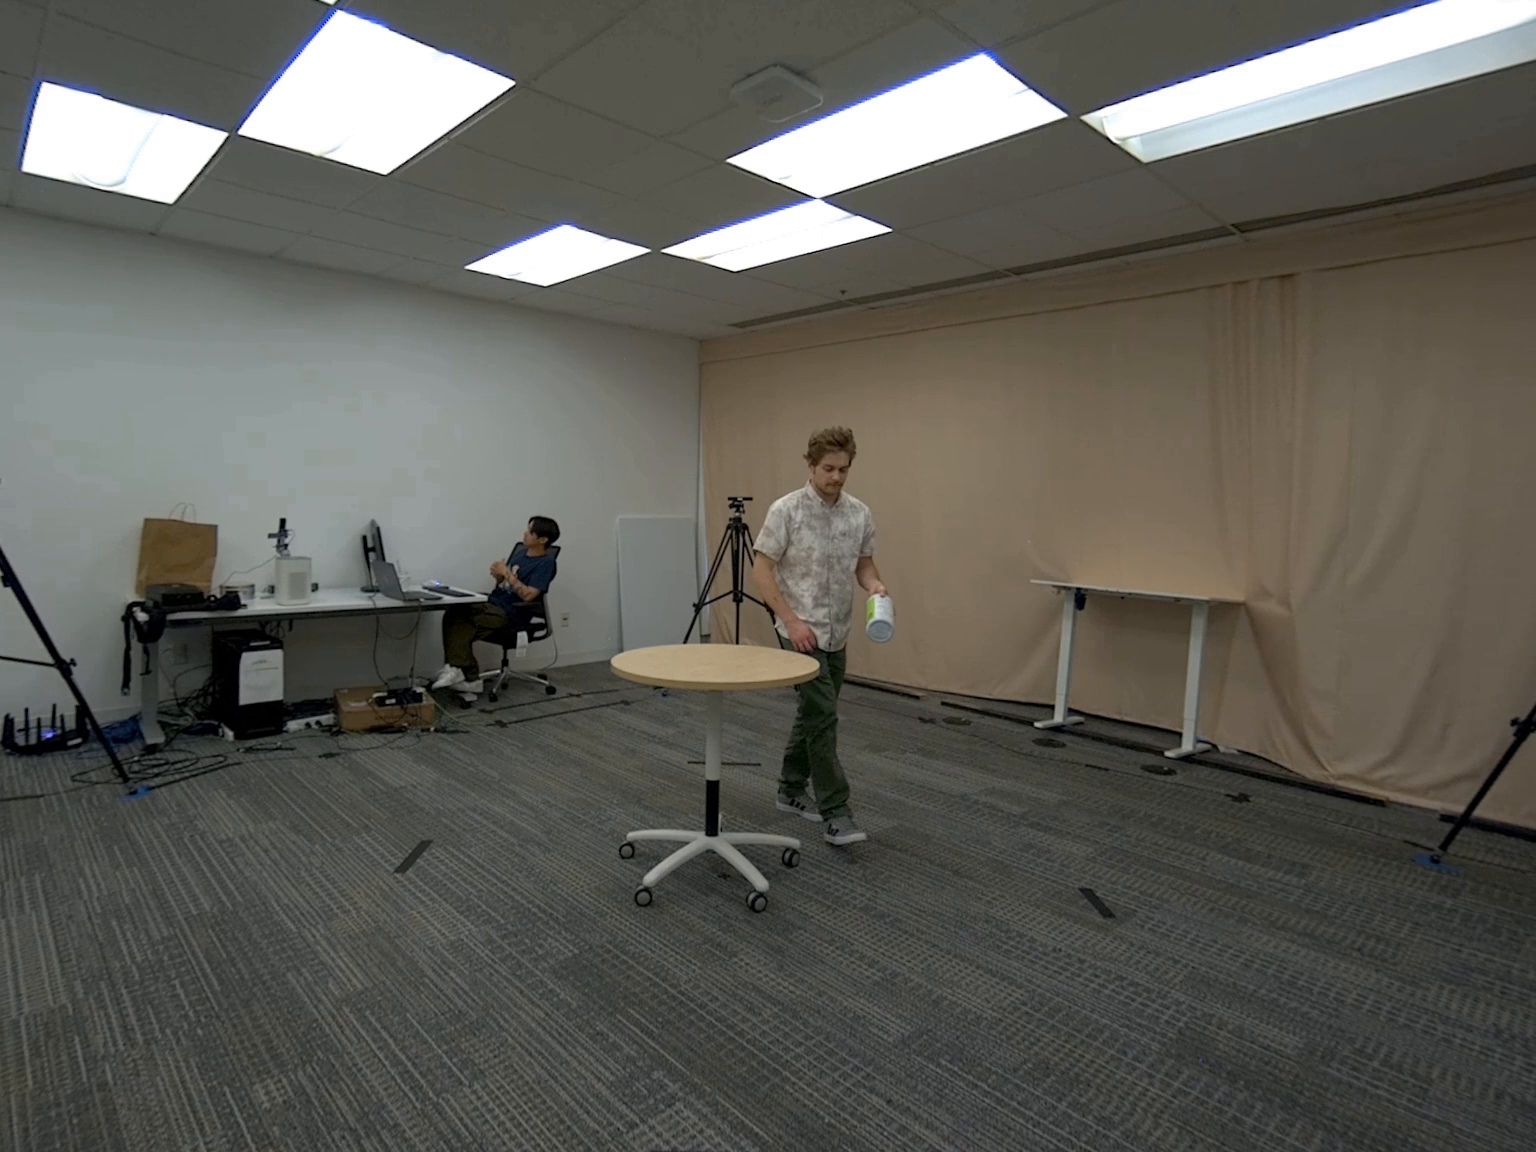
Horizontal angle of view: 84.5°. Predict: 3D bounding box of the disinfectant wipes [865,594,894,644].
[{"bbox_3d":[0.439,0.164,3.341,0.118,0.115,0.220,2,27,6],"label":"disinfectant wipes"}]
